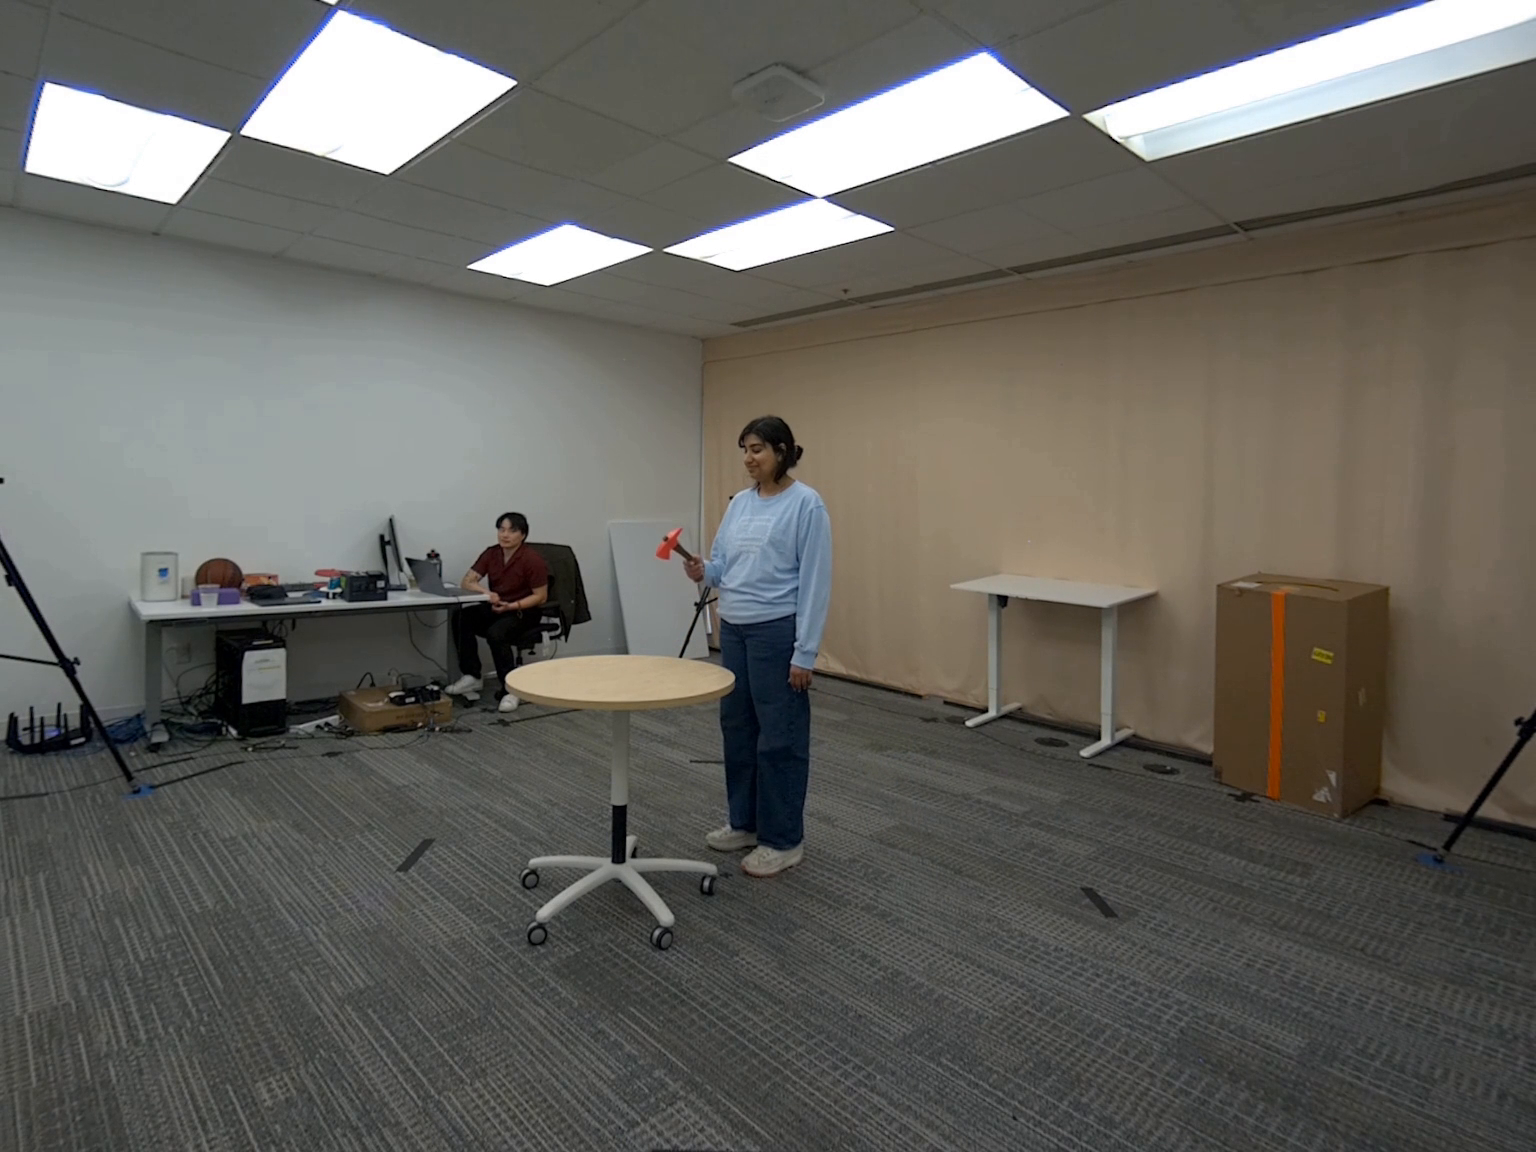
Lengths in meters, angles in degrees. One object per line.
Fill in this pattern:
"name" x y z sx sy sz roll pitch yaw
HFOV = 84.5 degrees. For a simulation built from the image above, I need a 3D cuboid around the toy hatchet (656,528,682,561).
"toy hatchet" -0.329 -0.044 3.048 0.130 0.262 0.030 -36 42 -16
